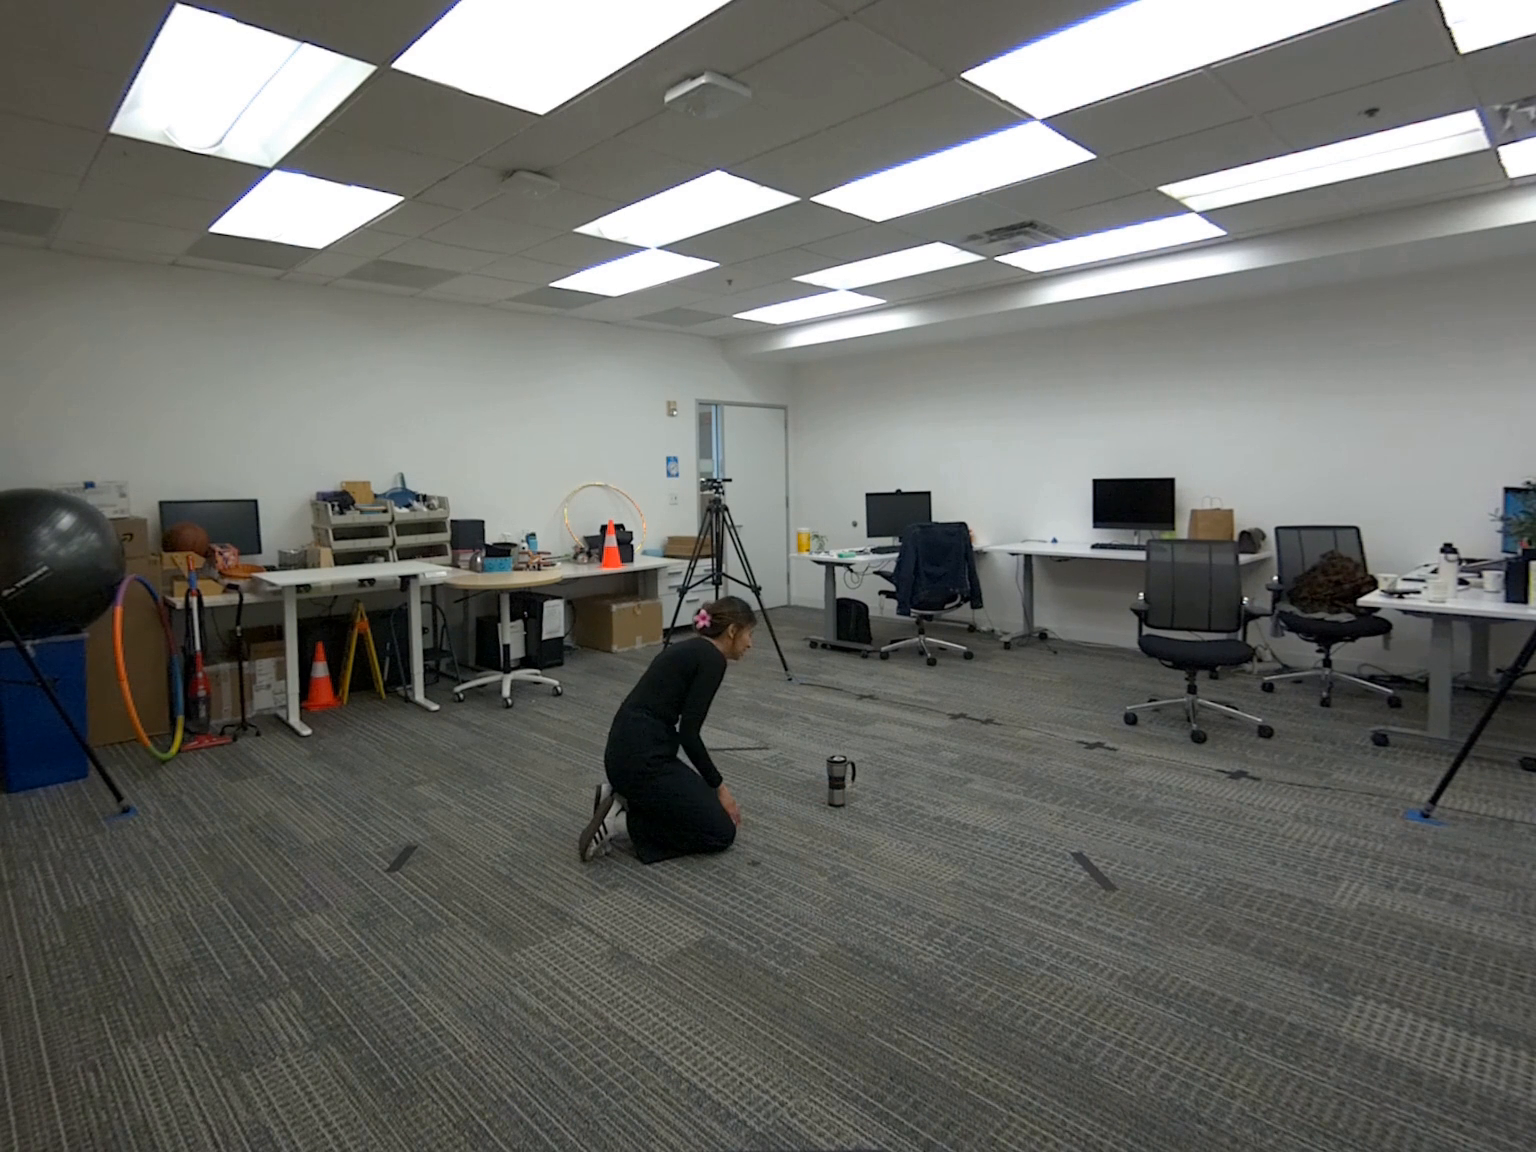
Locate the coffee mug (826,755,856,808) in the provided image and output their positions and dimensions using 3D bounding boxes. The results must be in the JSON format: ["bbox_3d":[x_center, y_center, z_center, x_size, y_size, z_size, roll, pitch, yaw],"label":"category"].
[{"bbox_3d":[0.312,0.879,3.644,0.124,0.203,0.086,-2,-3,18],"label":"coffee mug"}]
